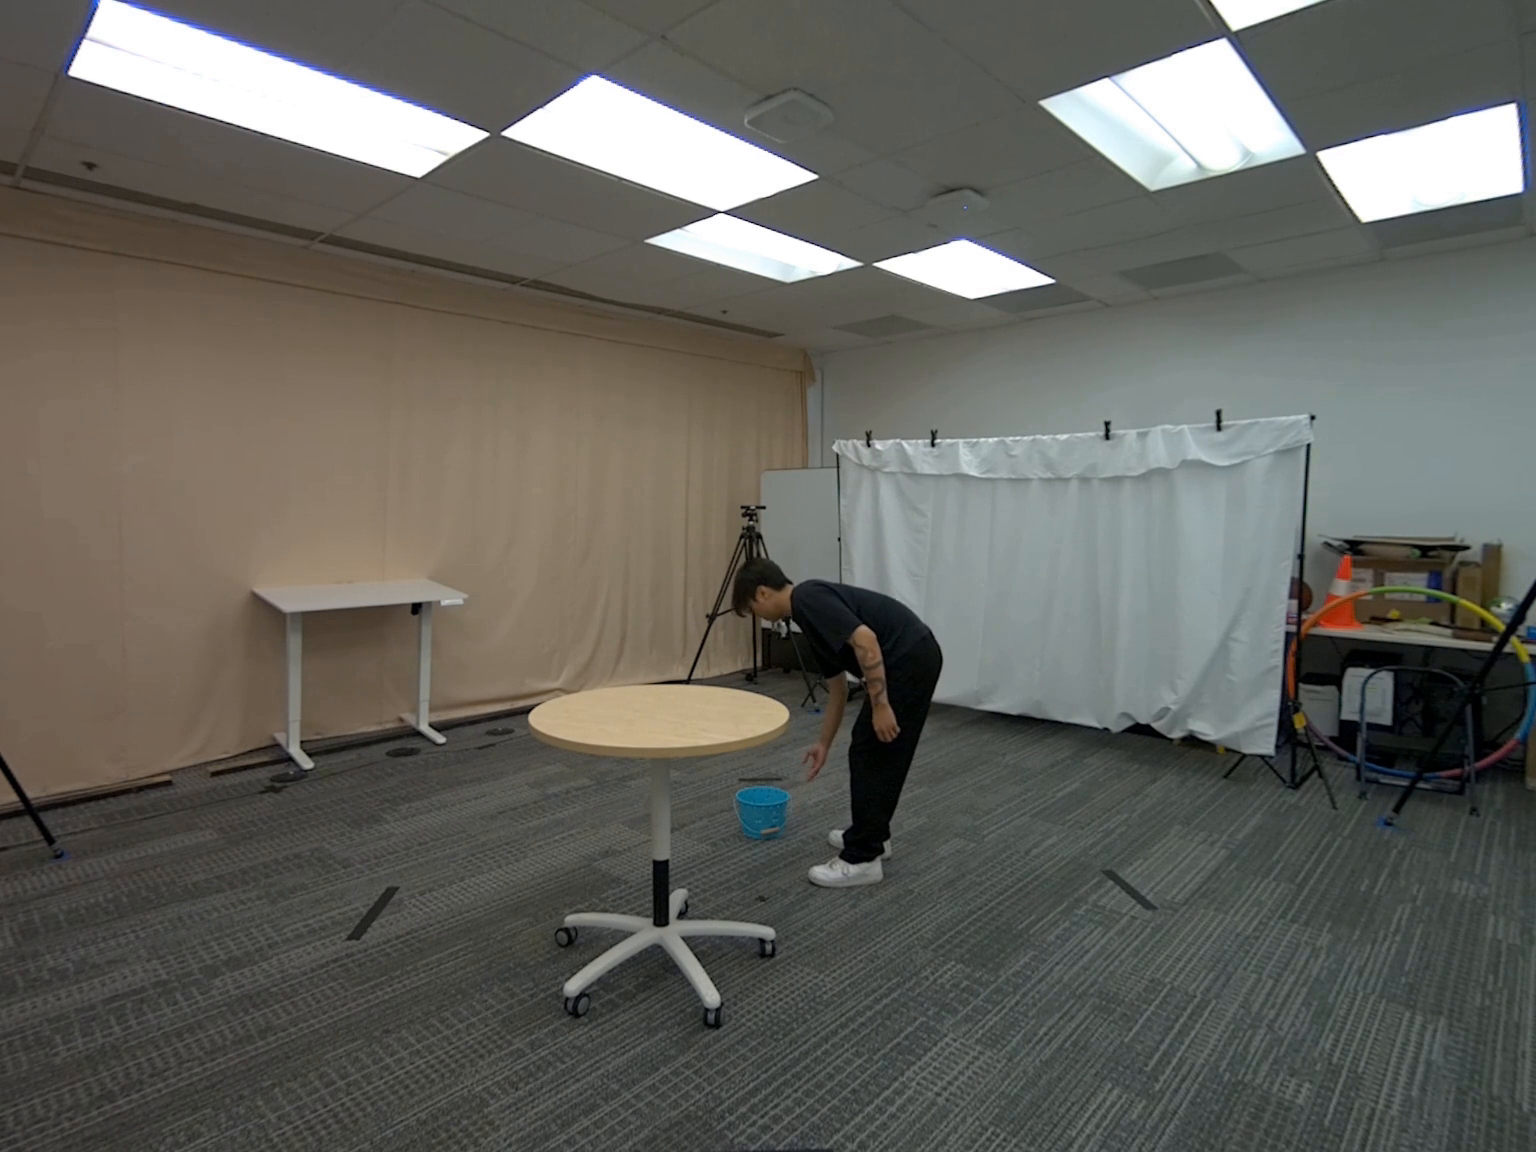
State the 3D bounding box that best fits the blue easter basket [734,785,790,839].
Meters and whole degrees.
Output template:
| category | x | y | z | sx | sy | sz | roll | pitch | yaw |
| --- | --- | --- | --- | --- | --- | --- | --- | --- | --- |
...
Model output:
| category | x | y | z | sx | sy | sz | roll | pitch | yaw |
| --- | --- | --- | --- | --- | --- | --- | --- | --- | --- |
| blue easter basket | -0.025 | 1.012 | 3.606 | 0.243 | 0.155 | 0.244 | 0 | 4 | -2 |
